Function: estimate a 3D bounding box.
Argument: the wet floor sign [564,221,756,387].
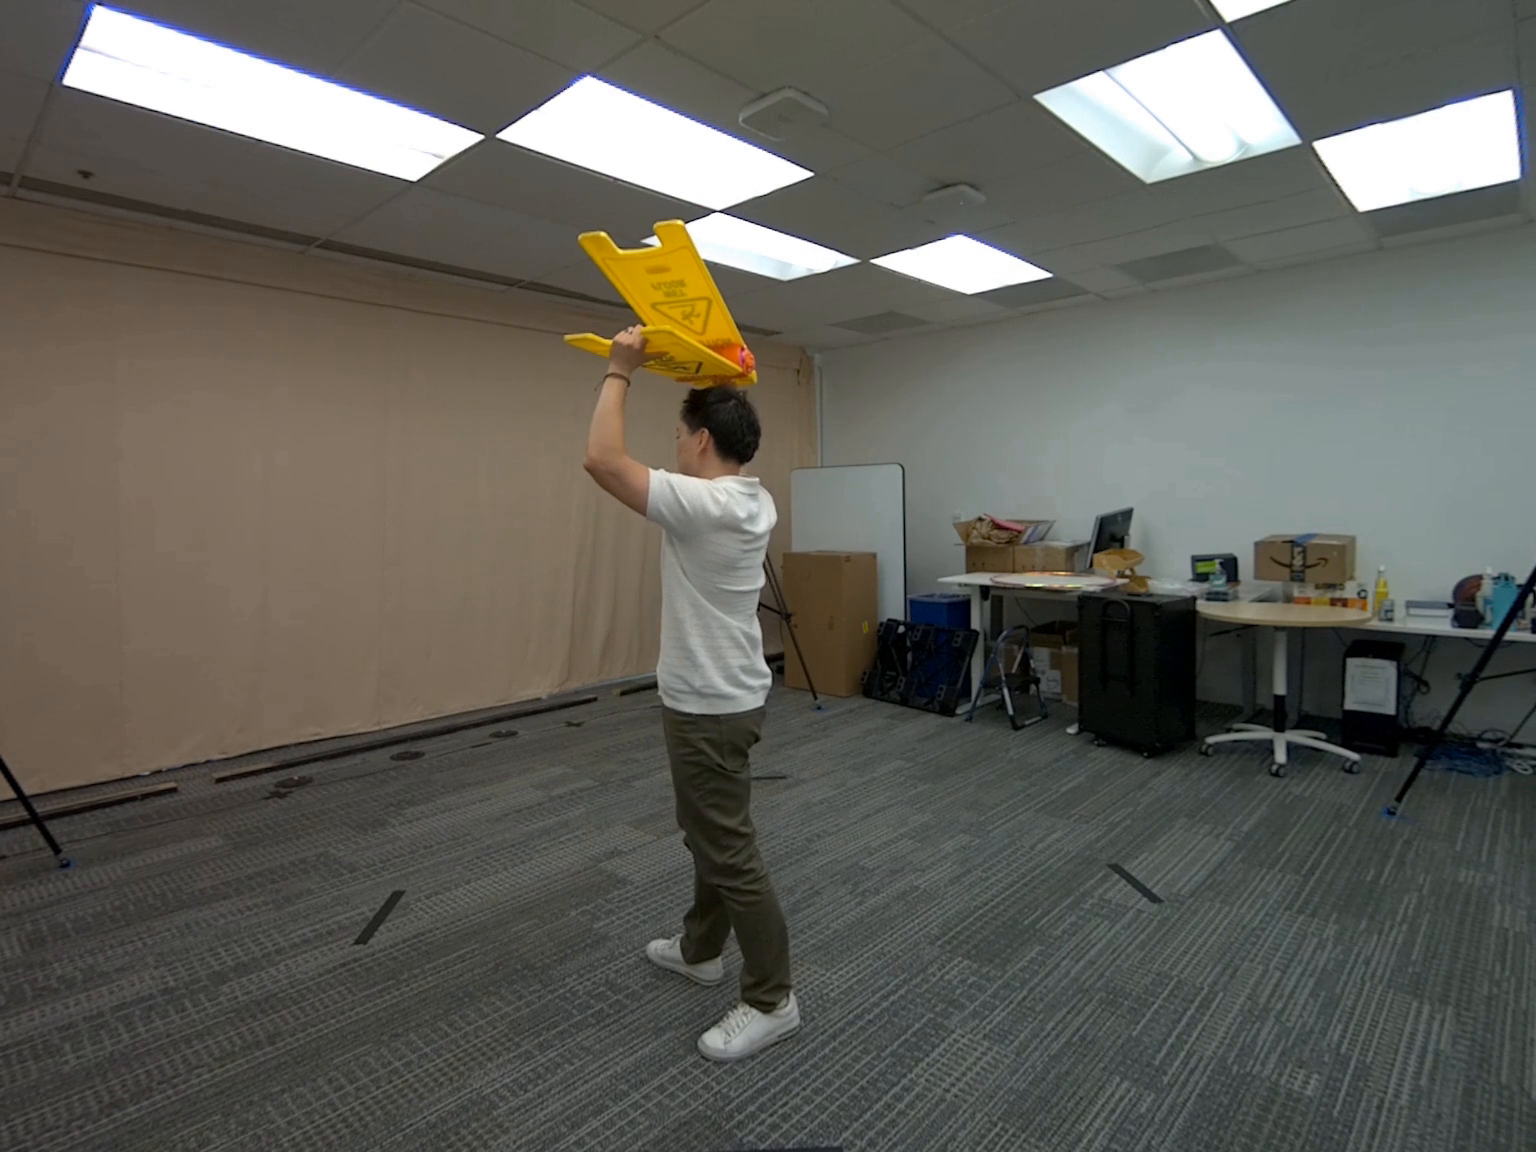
[{"bbox_3d":[-0.221,-0.630,2.215,0.289,0.291,0.628,2,-9,21],"label":"wet floor sign"}]
